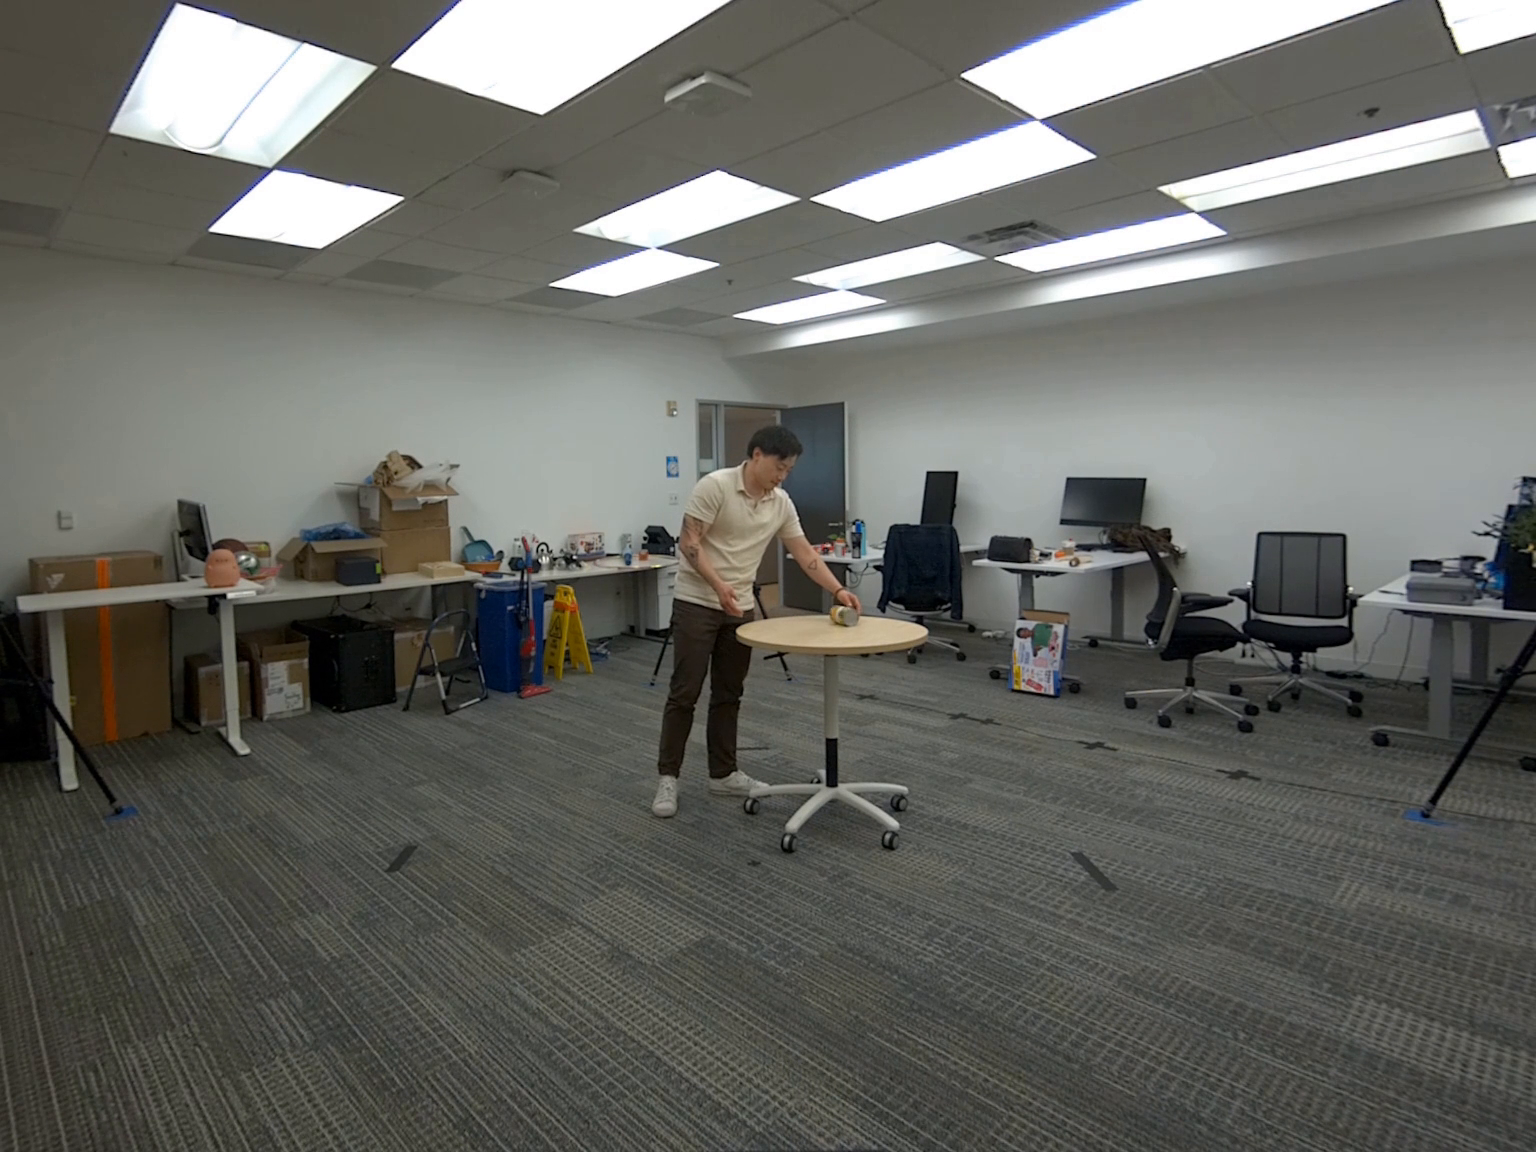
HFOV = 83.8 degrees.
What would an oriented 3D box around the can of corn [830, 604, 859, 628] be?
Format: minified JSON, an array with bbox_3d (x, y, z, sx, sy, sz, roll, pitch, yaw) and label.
[{"bbox_3d":[0.310,0.164,3.562,0.073,0.074,0.113,-3,4,-20],"label":"can of corn"}]
